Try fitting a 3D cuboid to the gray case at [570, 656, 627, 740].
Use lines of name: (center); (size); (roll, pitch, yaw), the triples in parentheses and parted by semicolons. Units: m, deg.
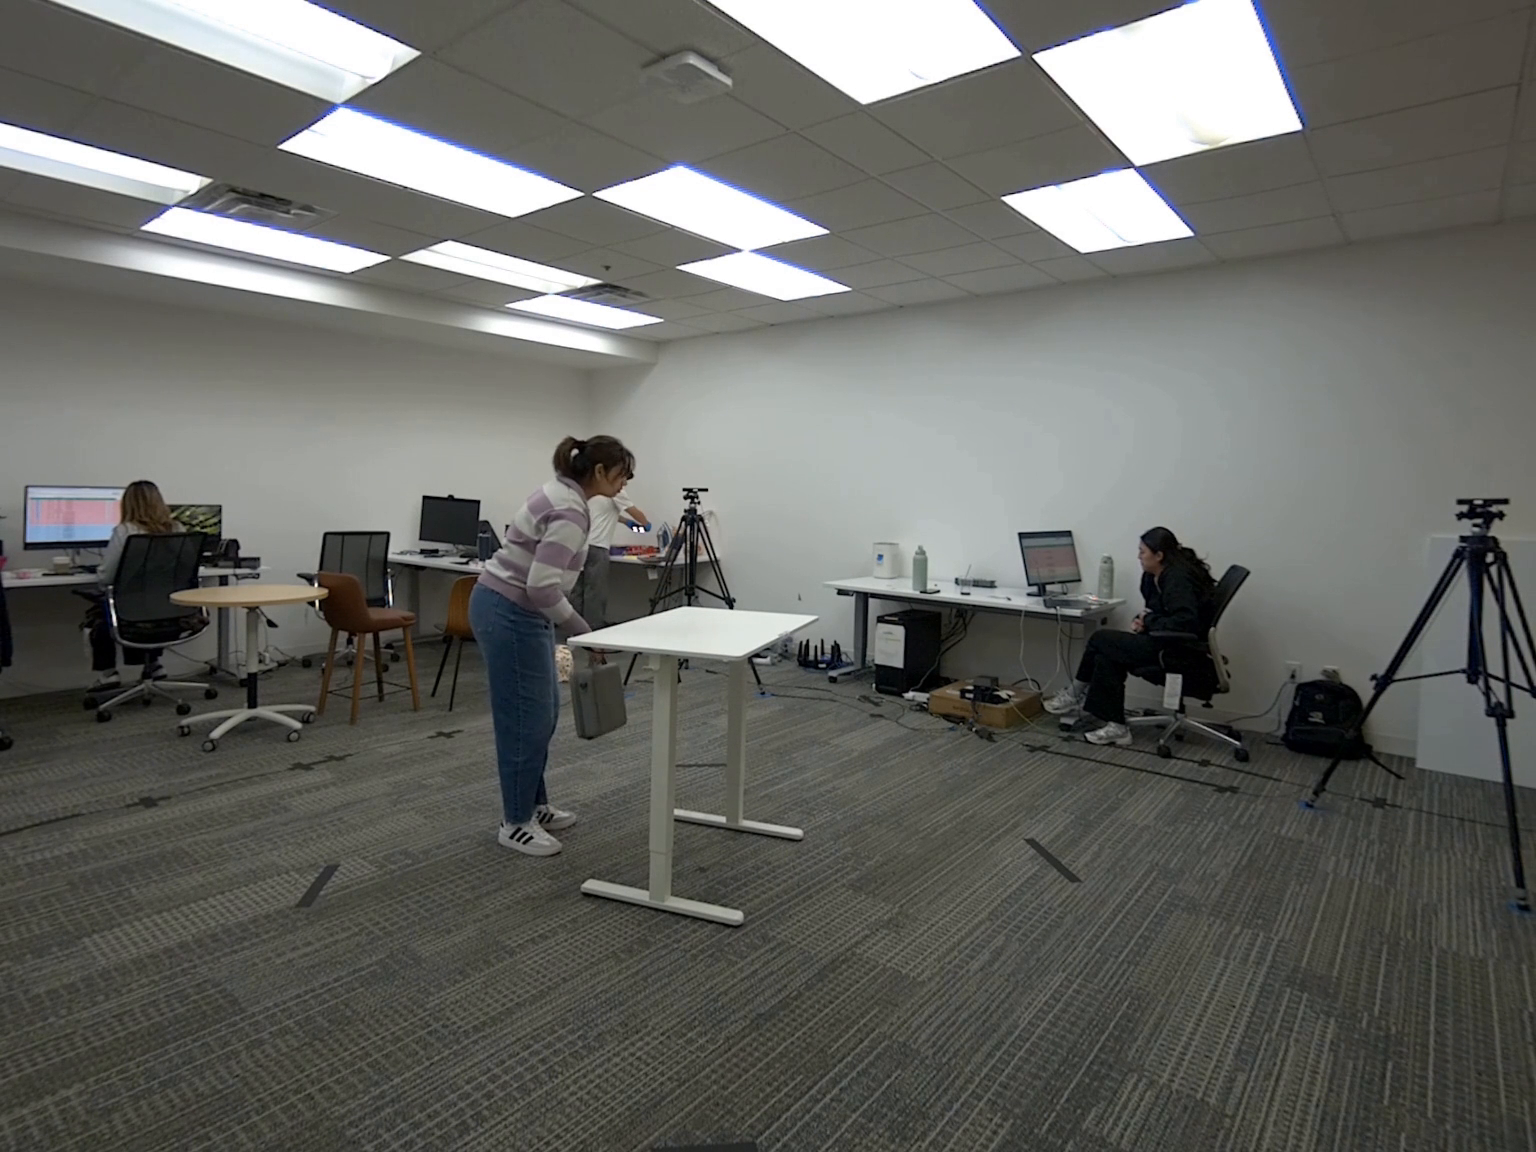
gray case: (-0.655, 0.468, 3.221); (0.106, 0.261, 0.252); (-6, -1, 17)
